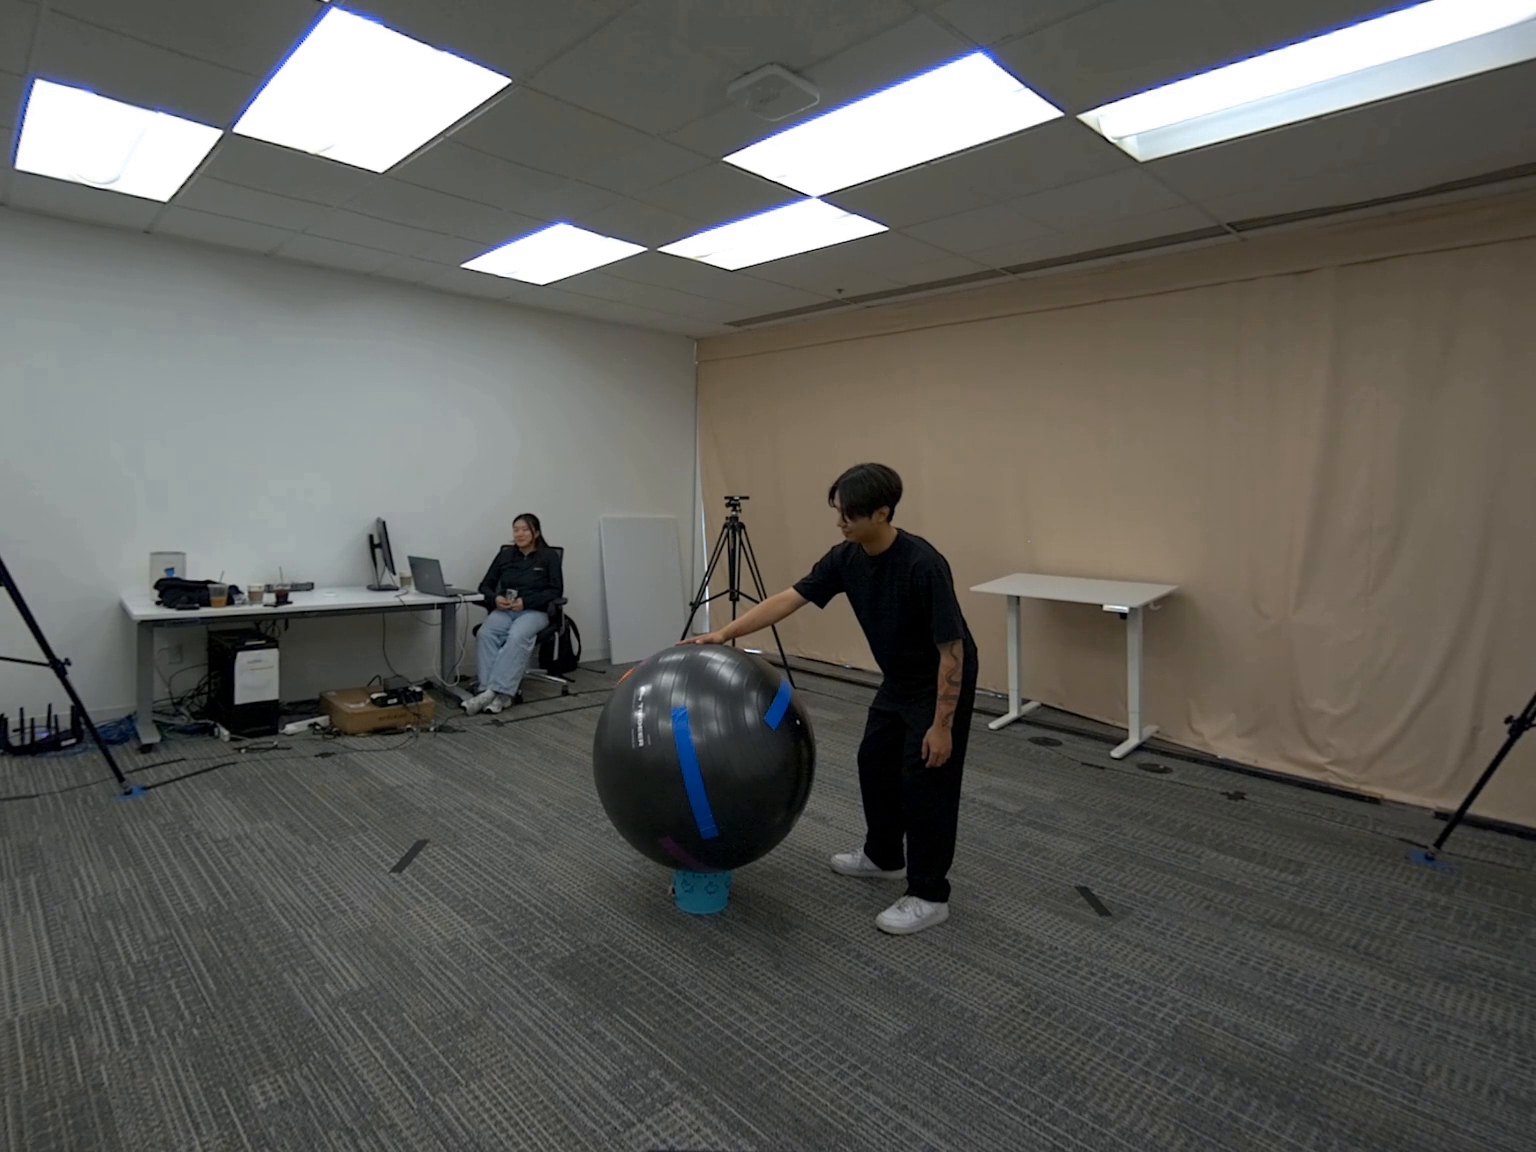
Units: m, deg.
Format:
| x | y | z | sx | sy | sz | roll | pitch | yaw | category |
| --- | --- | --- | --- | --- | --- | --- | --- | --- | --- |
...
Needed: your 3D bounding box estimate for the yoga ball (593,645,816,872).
| x | y | z | sx | sy | sz | roll | pitch | yaw | category |
| --- | --- | --- | --- | --- | --- | --- | --- | --- | --- |
| -0.231 | 0.616 | 2.876 | 0.757 | 0.756 | 0.761 | 1 | 4 | -1 | yoga ball |
